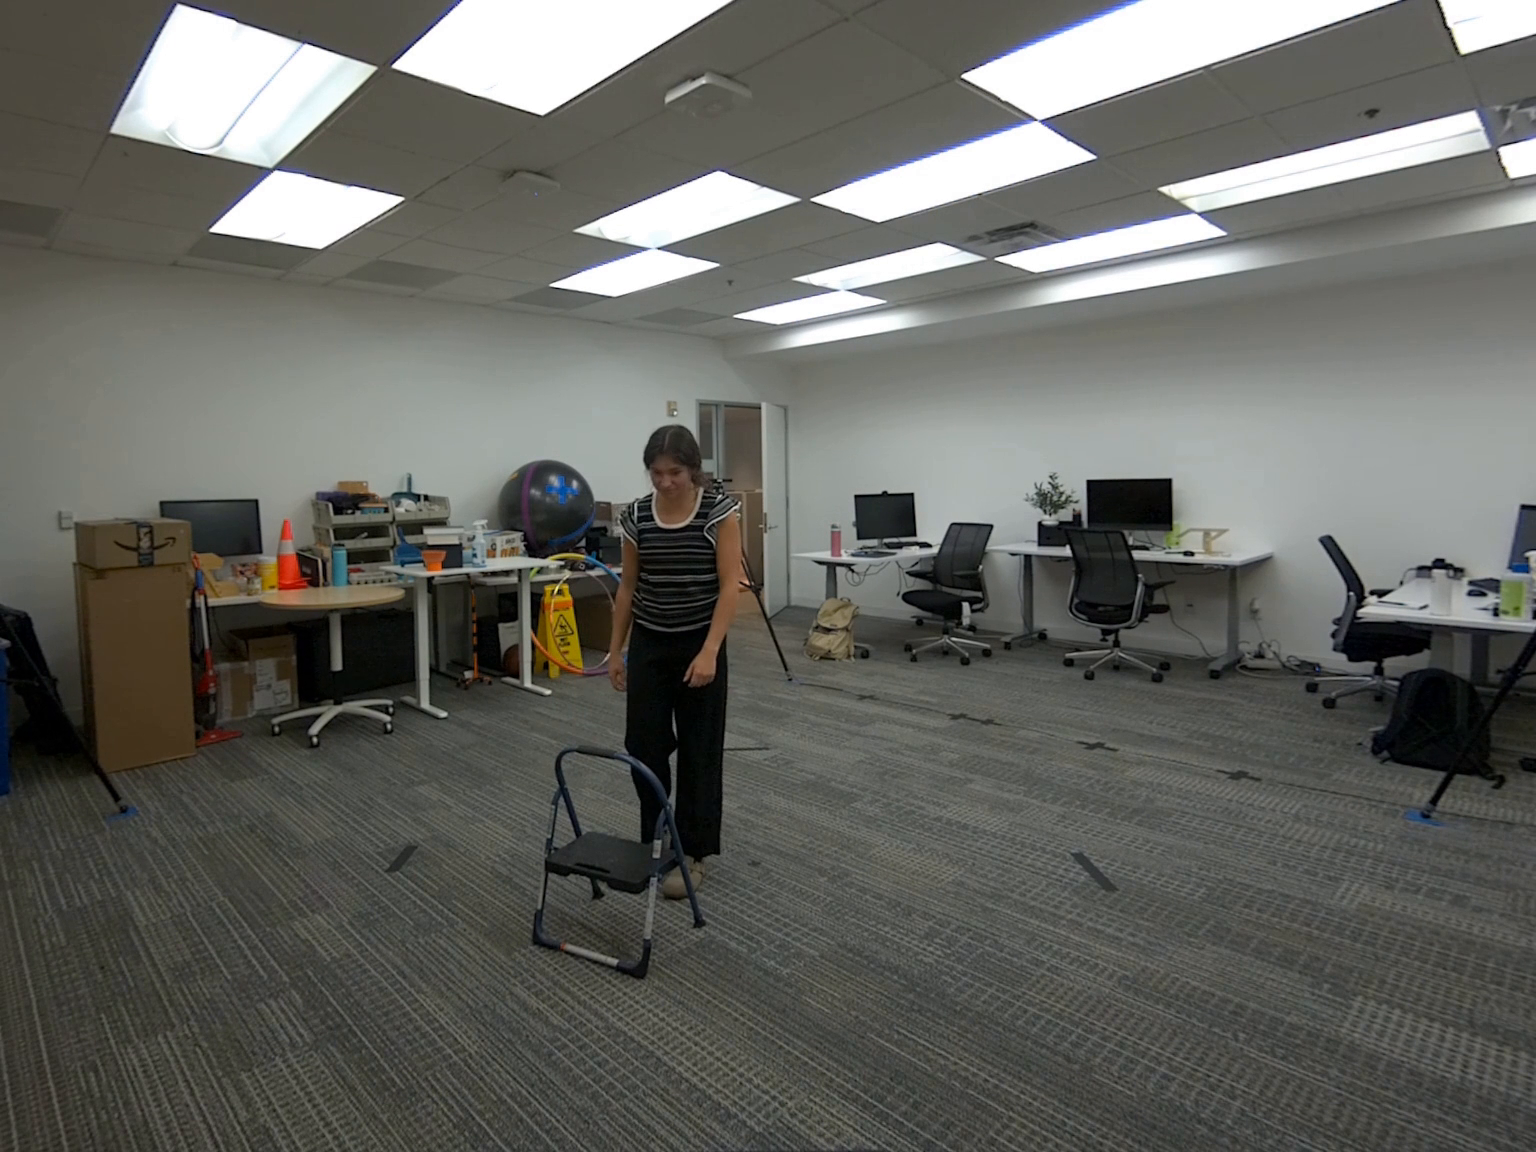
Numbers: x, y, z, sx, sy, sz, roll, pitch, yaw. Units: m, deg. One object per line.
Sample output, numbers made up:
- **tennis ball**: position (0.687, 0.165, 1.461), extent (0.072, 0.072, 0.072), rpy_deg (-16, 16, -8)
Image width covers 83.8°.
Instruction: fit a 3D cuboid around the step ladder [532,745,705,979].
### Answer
- **step ladder**: position (-0.467, 0.811, 2.624), extent (0.441, 0.604, 0.342), rpy_deg (1, 5, 28)
